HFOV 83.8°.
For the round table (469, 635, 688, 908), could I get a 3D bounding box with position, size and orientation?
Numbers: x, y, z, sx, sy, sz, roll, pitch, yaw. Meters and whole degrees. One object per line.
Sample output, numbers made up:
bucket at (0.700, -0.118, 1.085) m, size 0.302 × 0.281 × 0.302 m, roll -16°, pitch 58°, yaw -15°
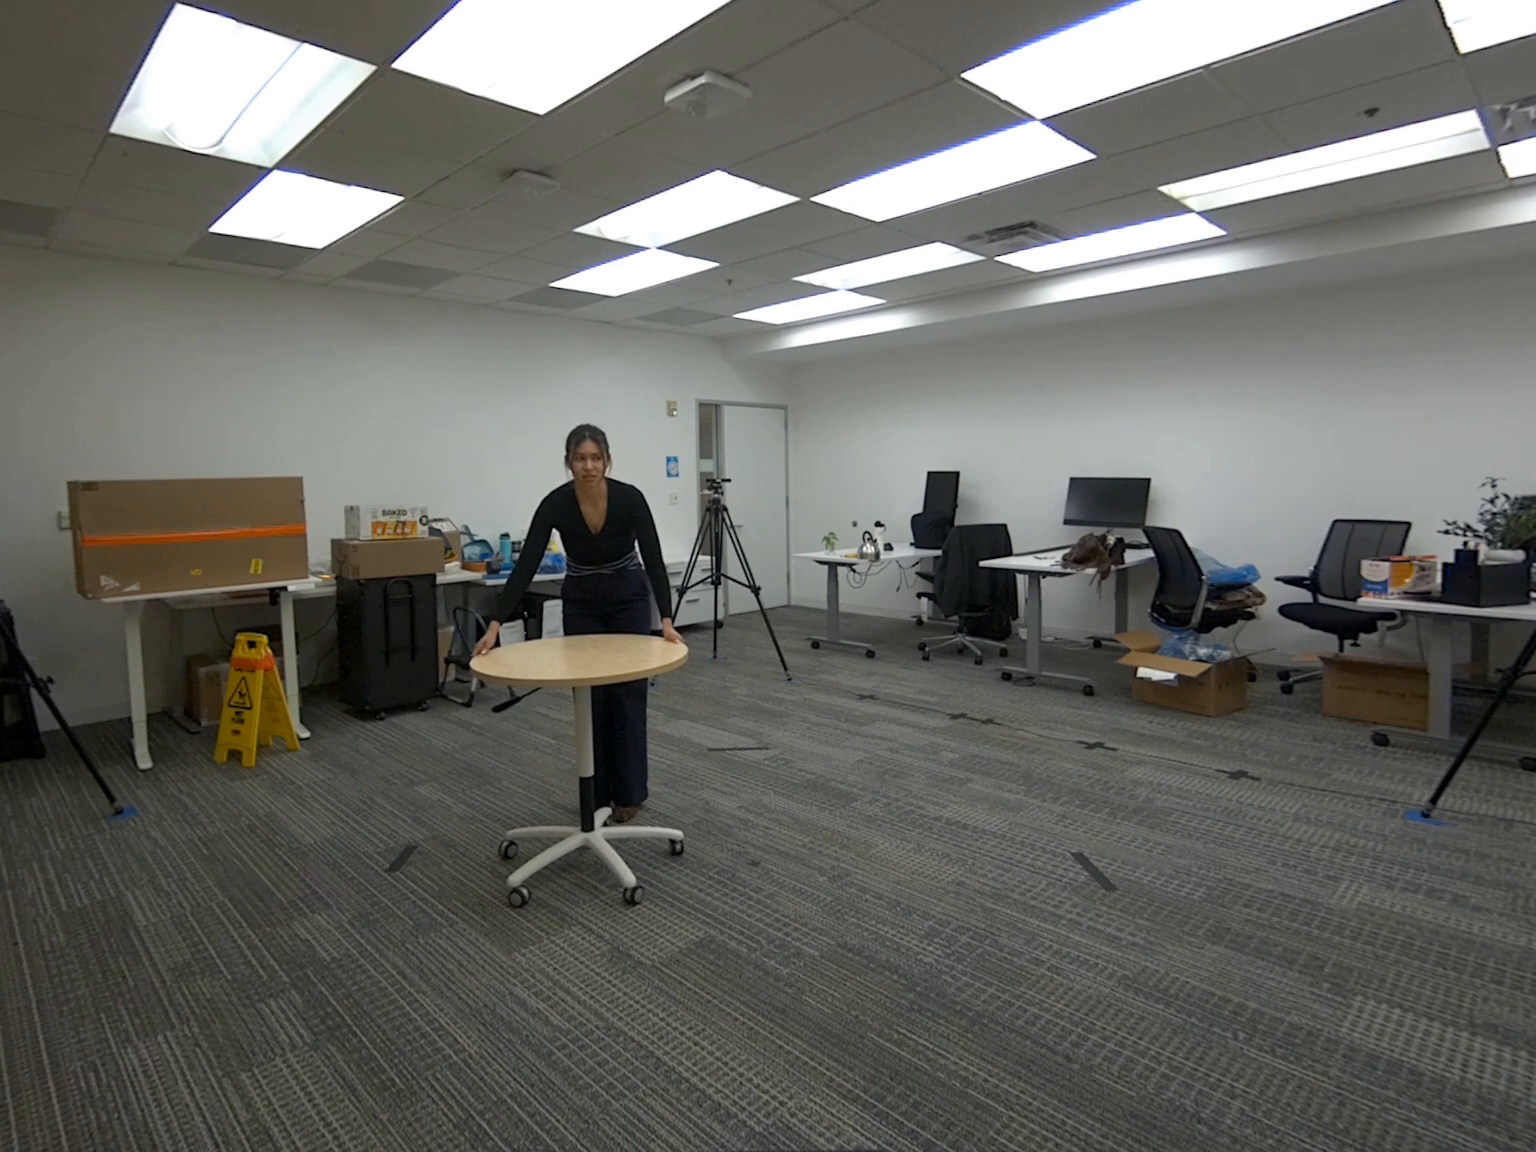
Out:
round table at (-0.652, 0.672, 3.070) m, size 0.763 × 0.791 × 0.768 m, roll -2°, pitch 5°, yaw -2°
